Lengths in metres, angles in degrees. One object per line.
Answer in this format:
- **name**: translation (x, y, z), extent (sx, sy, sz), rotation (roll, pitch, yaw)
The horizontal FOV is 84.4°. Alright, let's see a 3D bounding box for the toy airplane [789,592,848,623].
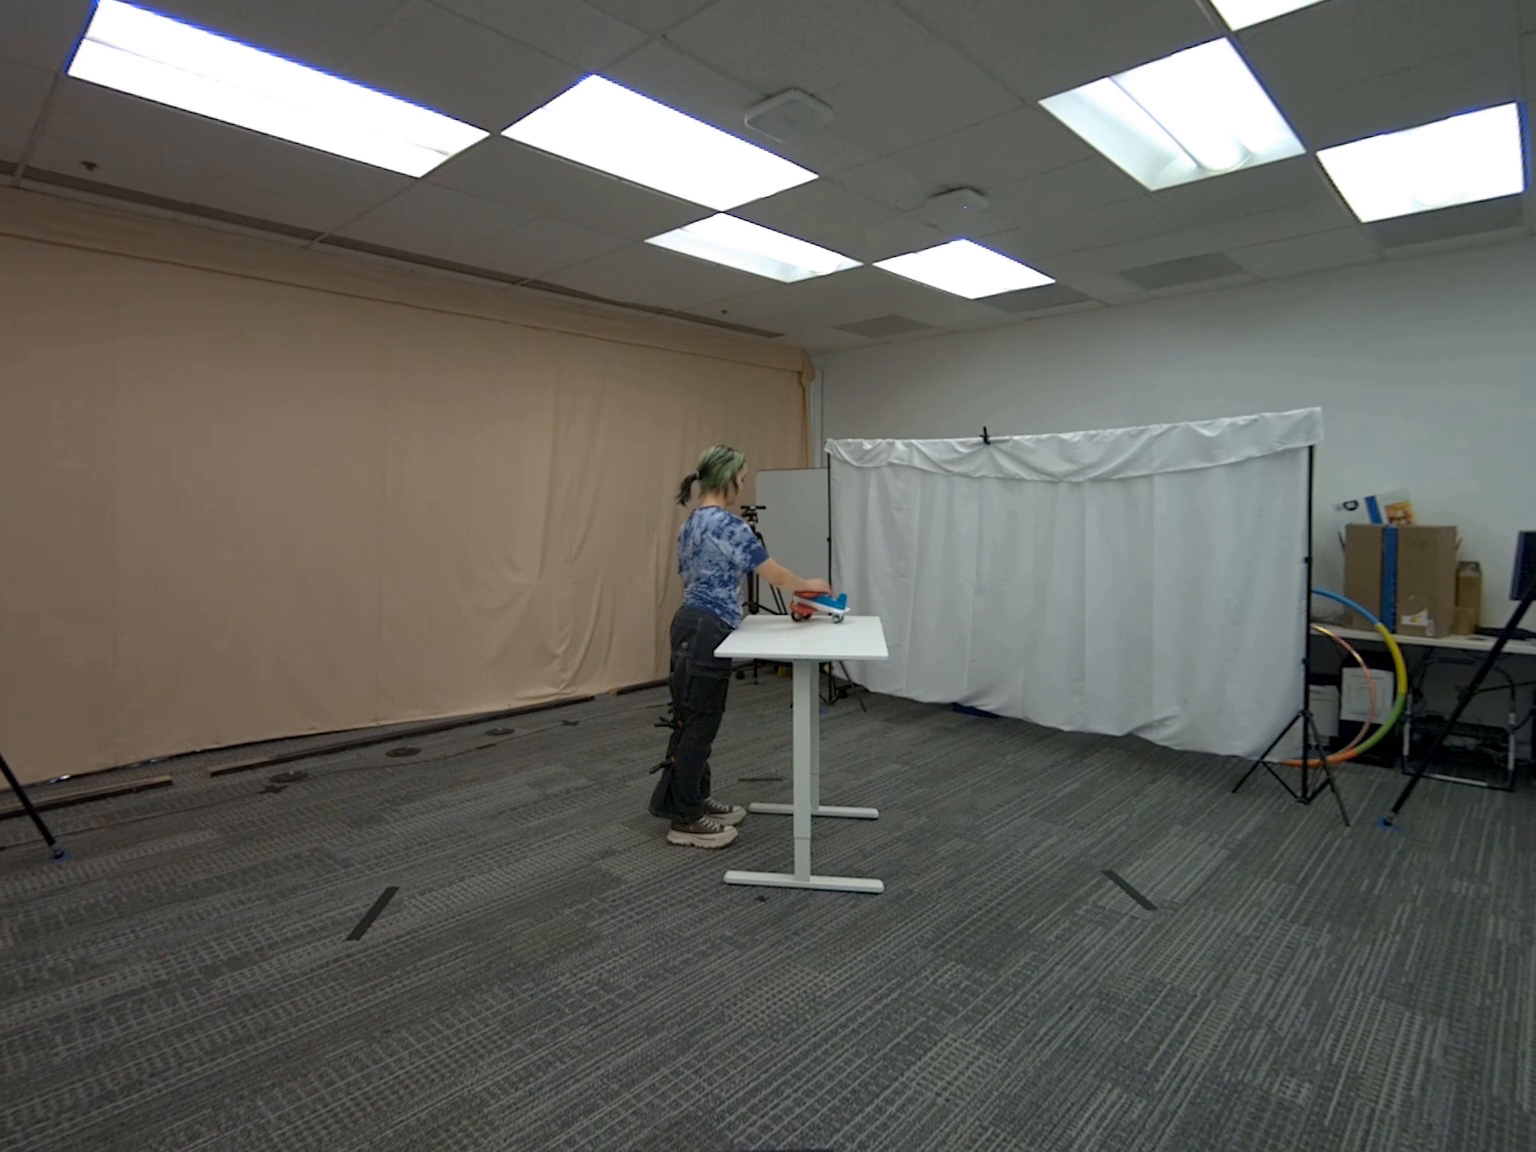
- **toy airplane**: translation (0.230, 0.122, 3.709), extent (0.260, 0.156, 0.250), rotation (-1, 4, 3)
